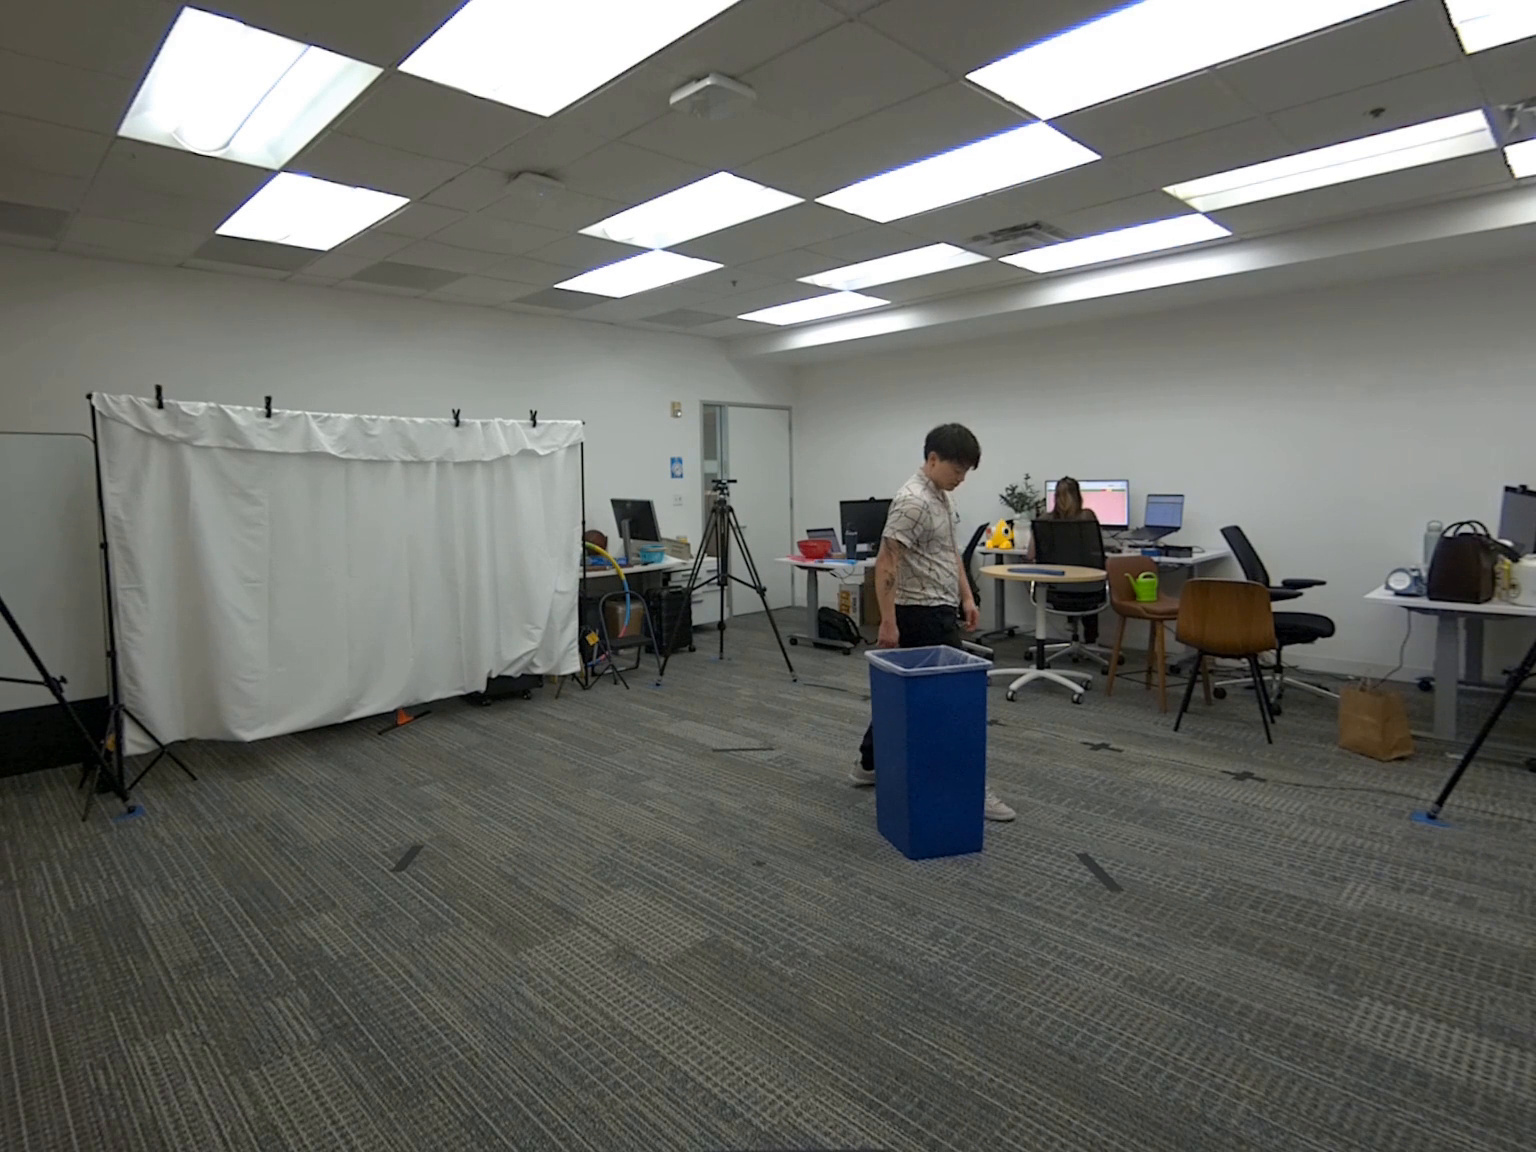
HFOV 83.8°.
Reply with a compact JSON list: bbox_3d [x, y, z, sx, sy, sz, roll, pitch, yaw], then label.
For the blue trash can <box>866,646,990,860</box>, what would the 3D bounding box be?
[{"bbox_3d":[0.604,0.661,3.262,0.369,0.711,0.385,-2,4,-17],"label":"blue trash can"}]
